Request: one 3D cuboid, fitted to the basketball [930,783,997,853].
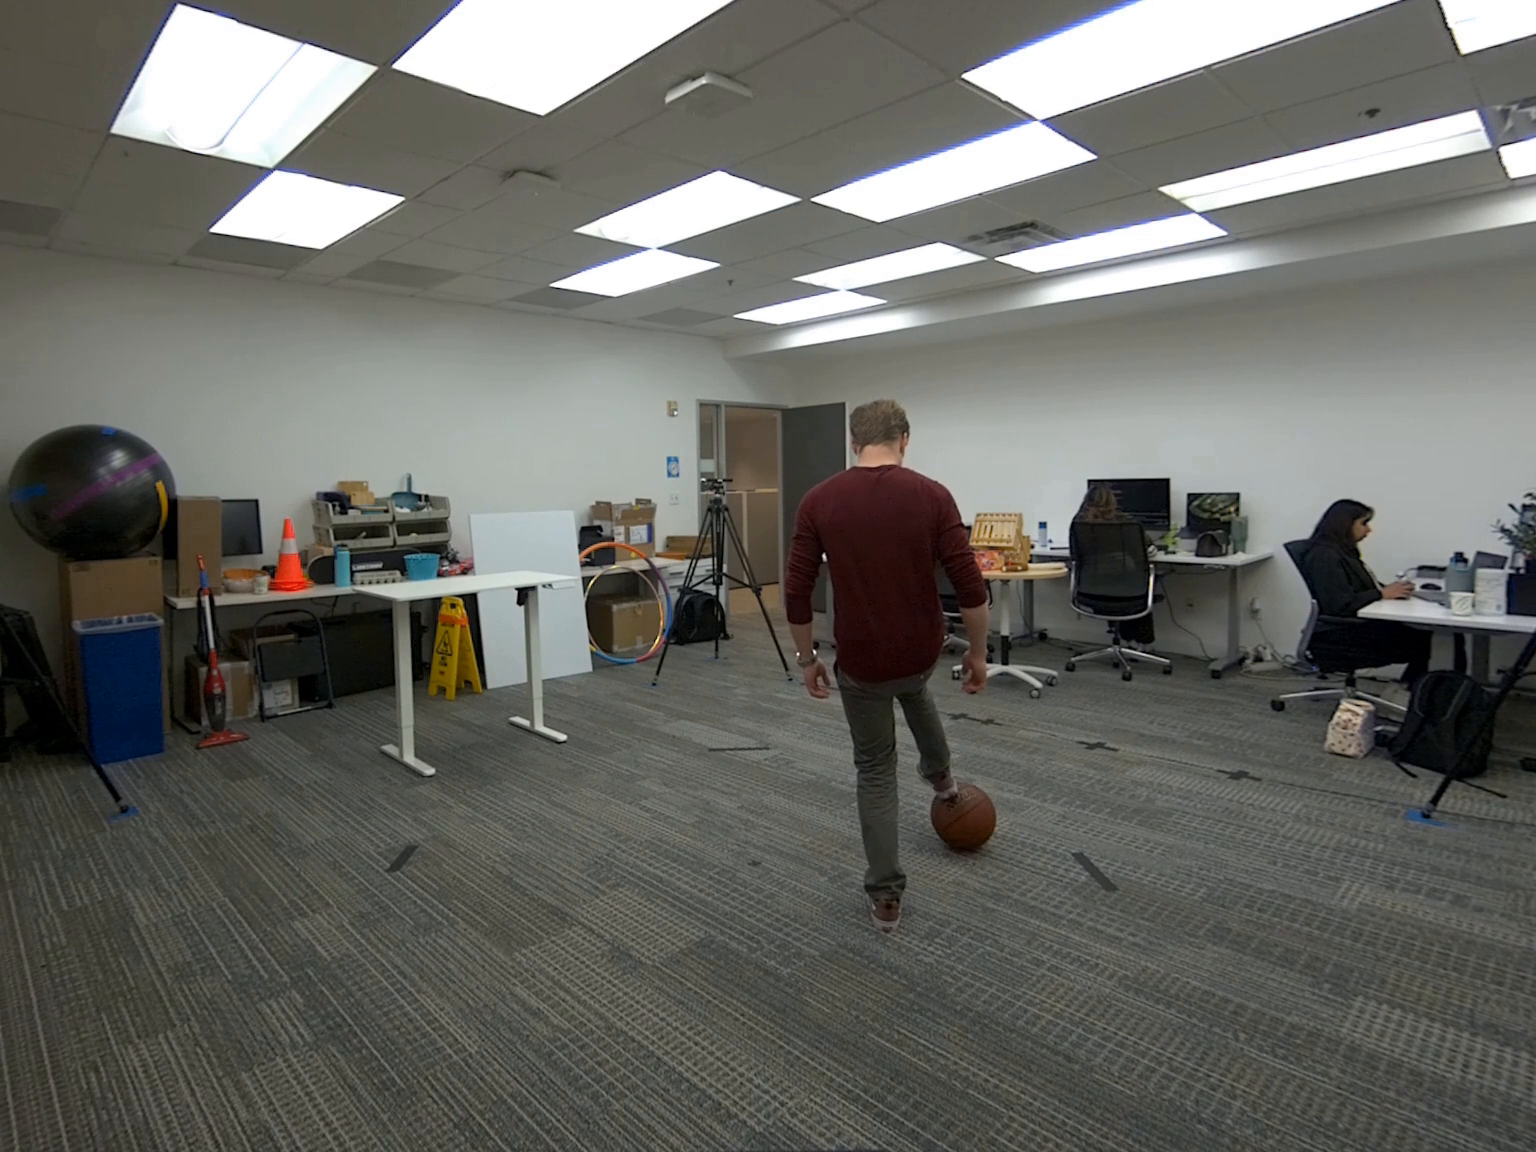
[{"bbox_3d":[0.735,0.901,3.213,0.236,0.235,0.237,-1,5,-2],"label":"basketball"}]
